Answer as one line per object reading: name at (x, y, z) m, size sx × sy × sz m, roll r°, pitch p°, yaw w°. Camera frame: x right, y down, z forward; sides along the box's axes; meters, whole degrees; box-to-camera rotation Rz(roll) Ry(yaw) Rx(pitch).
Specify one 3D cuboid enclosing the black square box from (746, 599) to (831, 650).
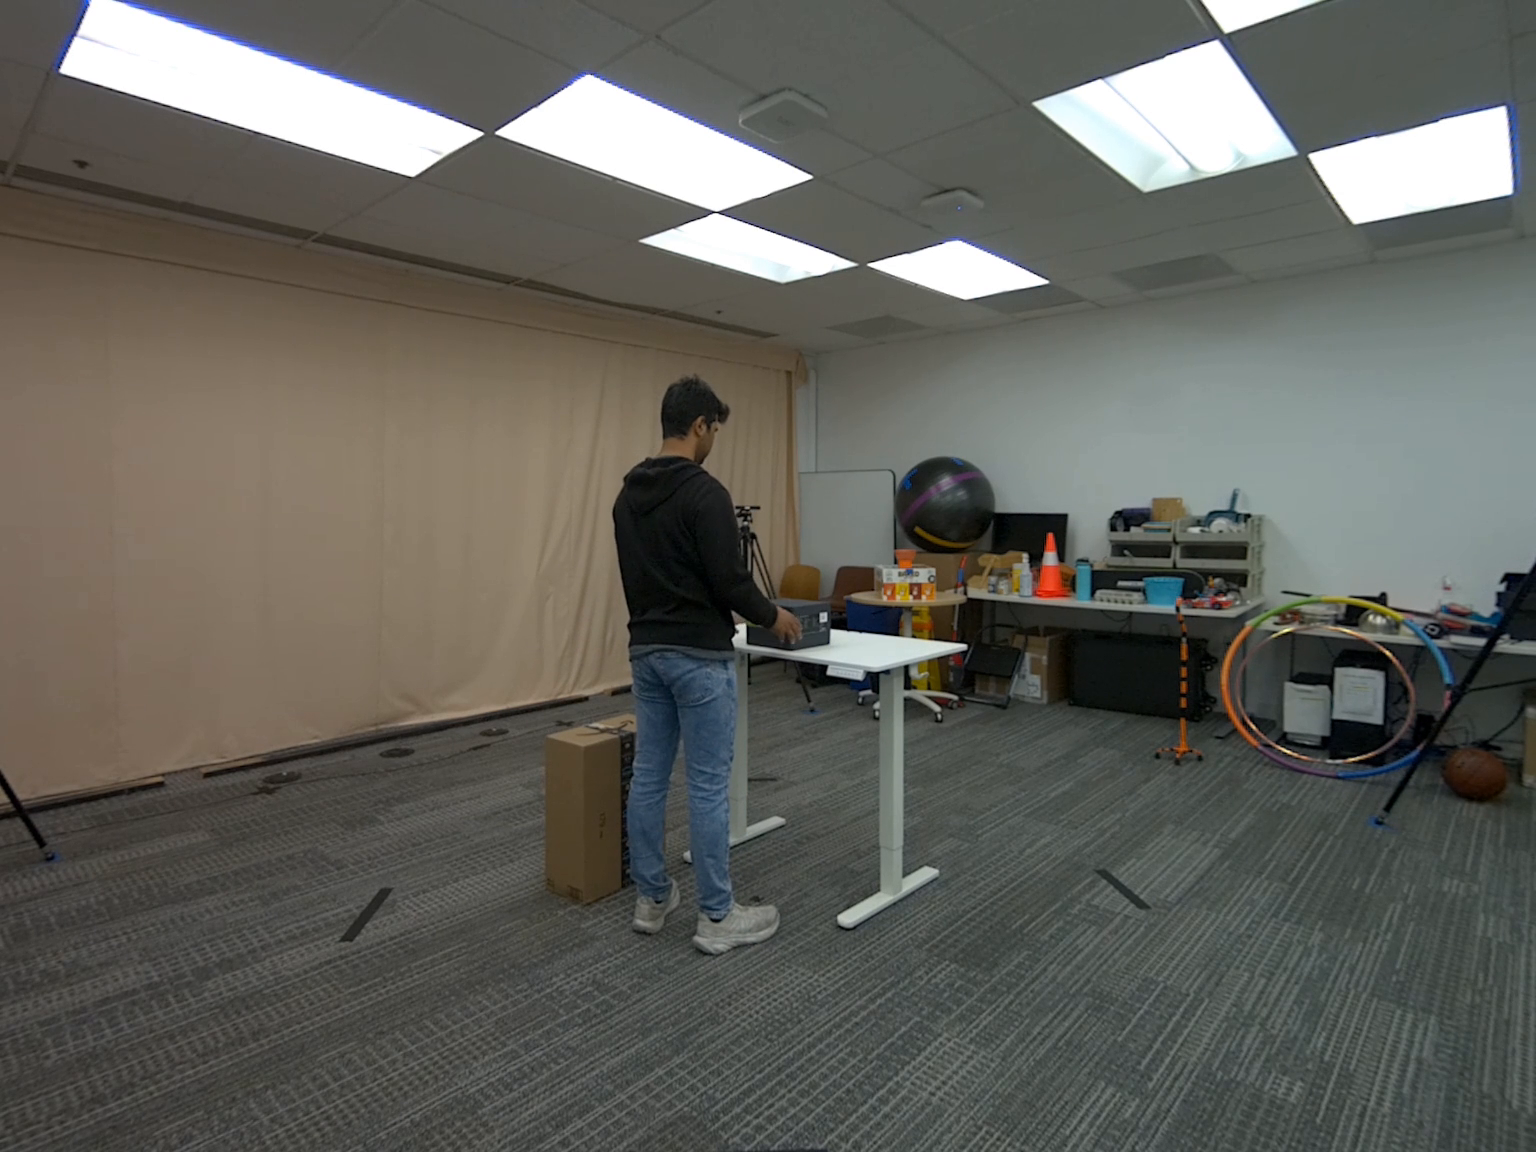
black square box at (0.081, 0.173, 3.097) m, size 0.235 × 0.155 × 0.210 m, roll 3°, pitch 5°, yaw 44°
